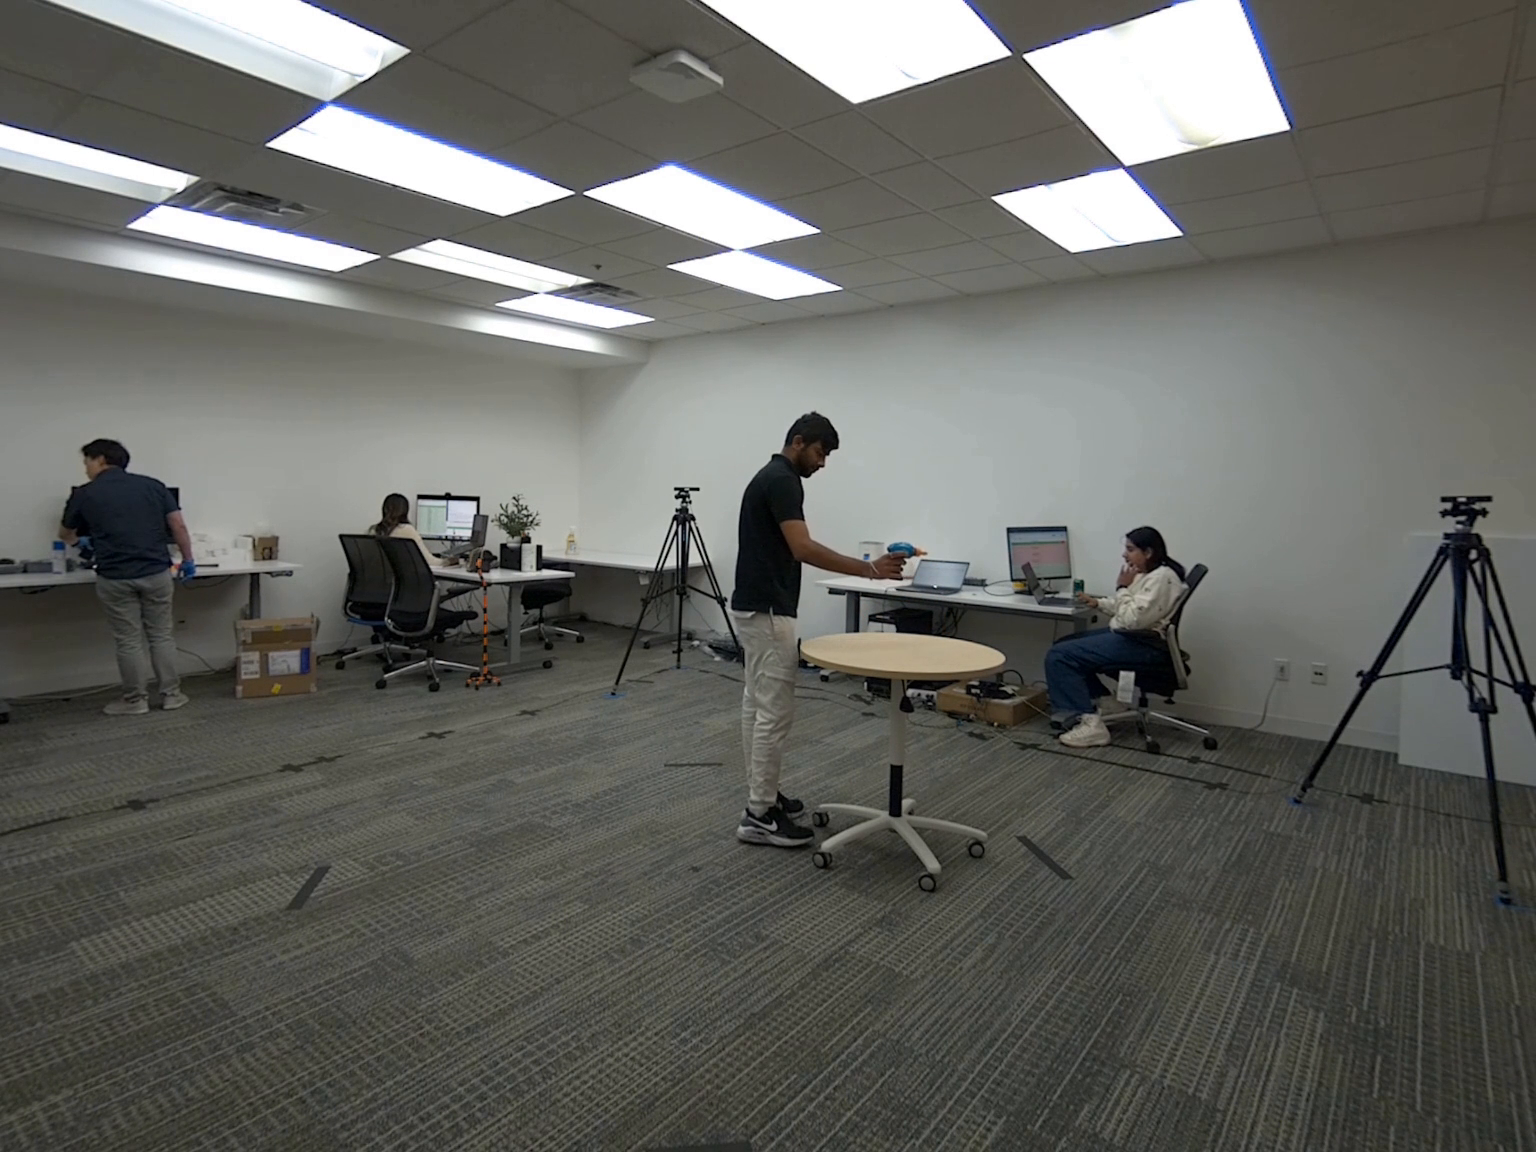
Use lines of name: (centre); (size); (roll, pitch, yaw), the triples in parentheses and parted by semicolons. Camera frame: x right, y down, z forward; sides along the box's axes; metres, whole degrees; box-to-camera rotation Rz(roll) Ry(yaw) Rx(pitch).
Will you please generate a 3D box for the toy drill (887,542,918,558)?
toy drill: (0.512, -0.057, 3.223); (0.167, 0.145, 0.062); (9, 10, -13)
